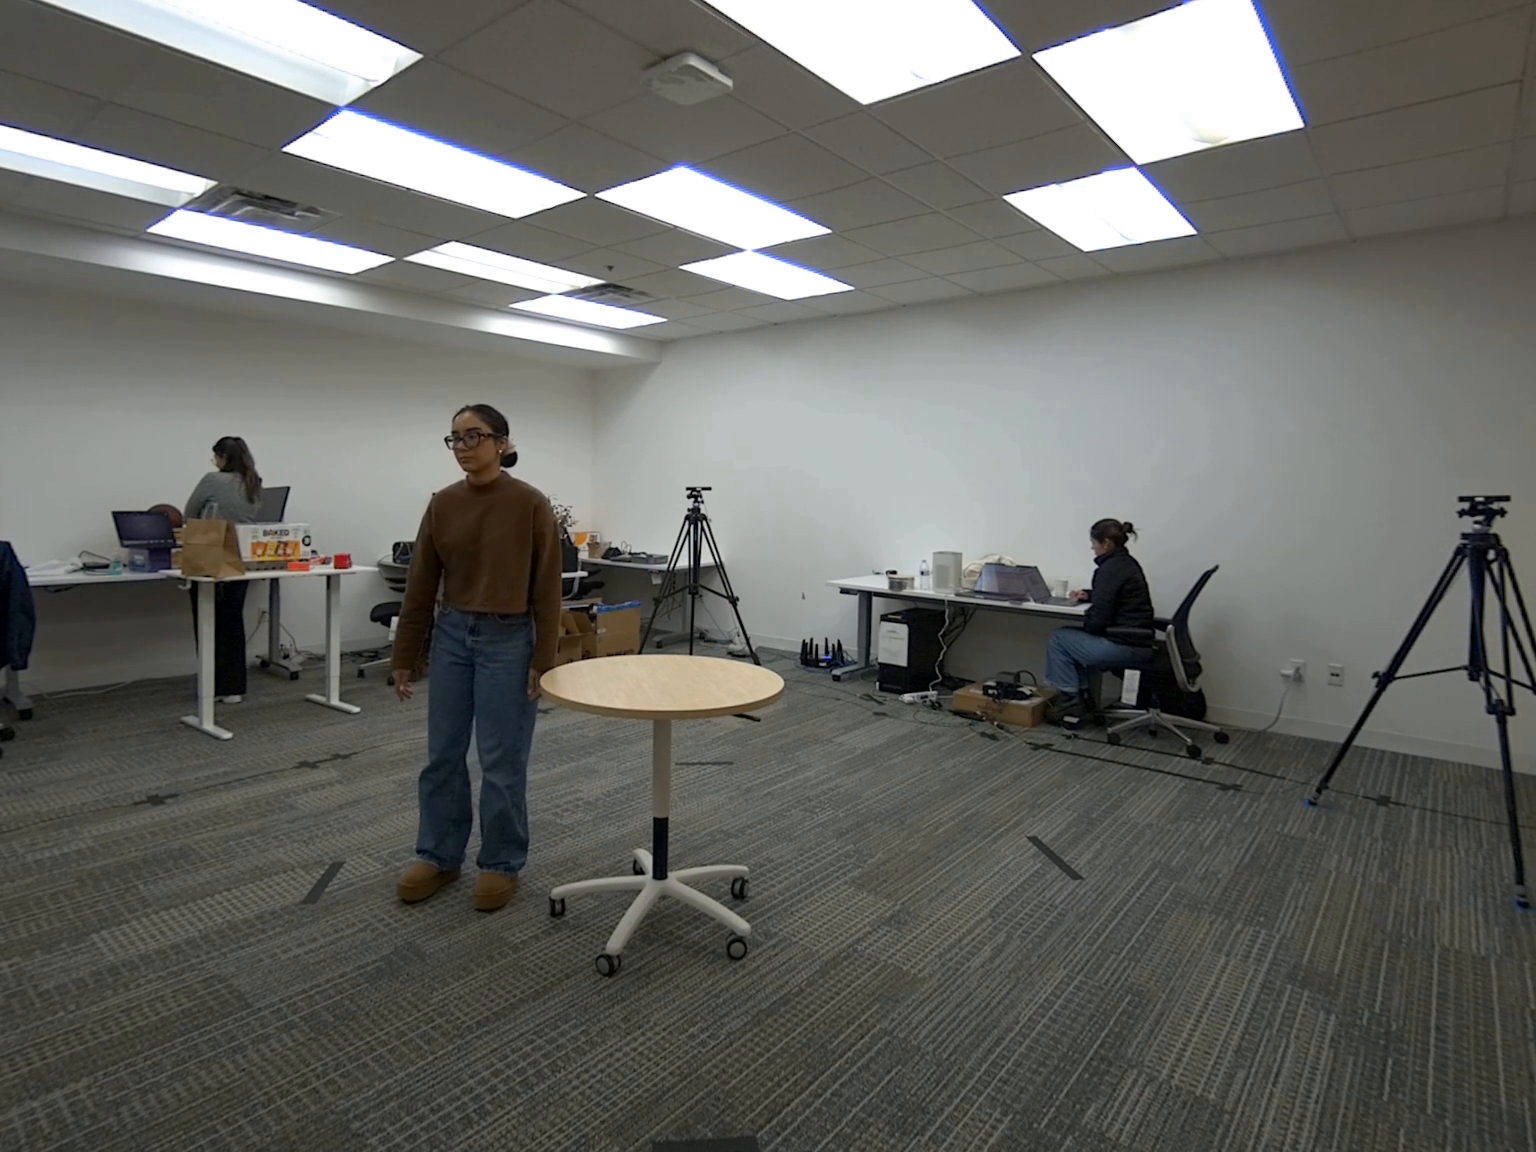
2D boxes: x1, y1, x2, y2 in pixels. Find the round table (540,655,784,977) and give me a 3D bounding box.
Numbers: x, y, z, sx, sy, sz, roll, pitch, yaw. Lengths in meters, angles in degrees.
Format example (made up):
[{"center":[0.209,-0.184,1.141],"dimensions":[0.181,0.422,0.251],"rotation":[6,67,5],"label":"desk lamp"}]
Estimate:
[{"center":[-0.335,0.710,2.713],"dimensions":[0.784,0.783,0.789],"rotation":[0,5,-2],"label":"round table"}]
